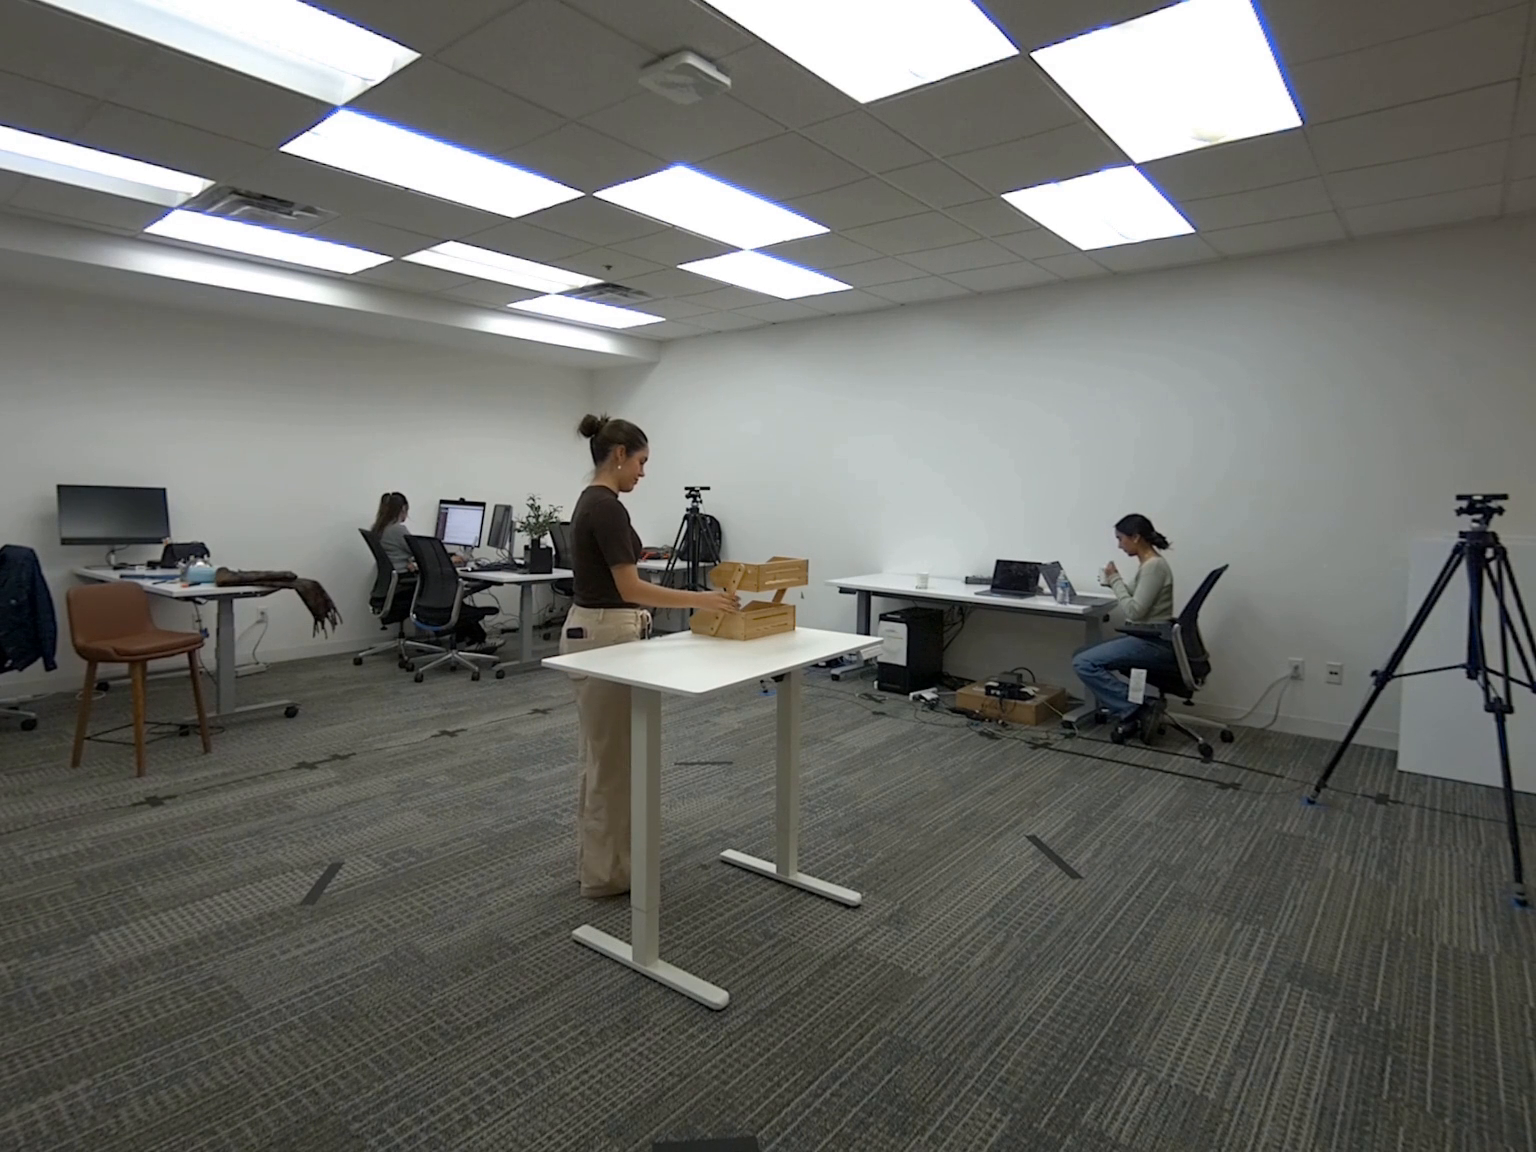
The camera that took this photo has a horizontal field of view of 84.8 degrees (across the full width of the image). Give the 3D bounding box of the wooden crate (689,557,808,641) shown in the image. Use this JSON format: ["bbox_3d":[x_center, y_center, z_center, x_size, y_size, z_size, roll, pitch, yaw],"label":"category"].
[{"bbox_3d":[-0.078,0.065,2.981,0.312,0.272,0.315,6,7,38],"label":"wooden crate"}]
